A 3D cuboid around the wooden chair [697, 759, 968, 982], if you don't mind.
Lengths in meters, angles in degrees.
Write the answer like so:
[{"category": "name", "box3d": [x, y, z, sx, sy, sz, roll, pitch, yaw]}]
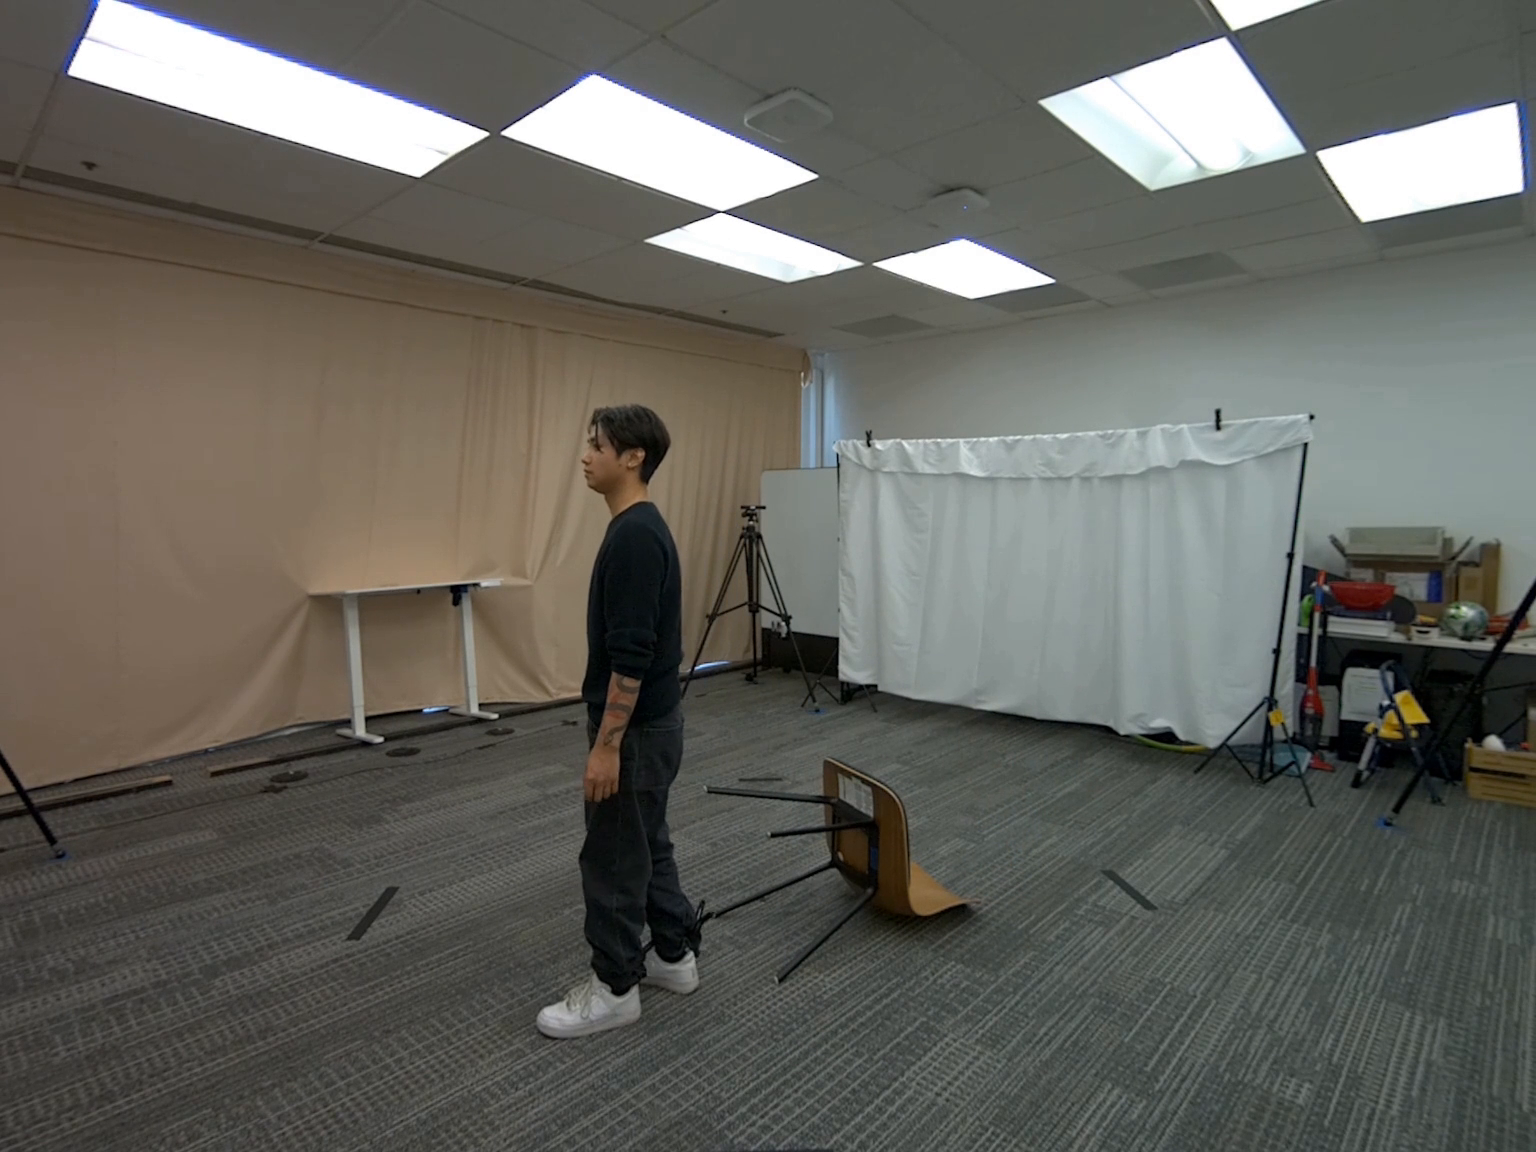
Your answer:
[{"category": "wooden chair", "box3d": [0.284, 0.900, 2.807, 0.856, 0.522, 0.491, -2, 4, -26]}]
